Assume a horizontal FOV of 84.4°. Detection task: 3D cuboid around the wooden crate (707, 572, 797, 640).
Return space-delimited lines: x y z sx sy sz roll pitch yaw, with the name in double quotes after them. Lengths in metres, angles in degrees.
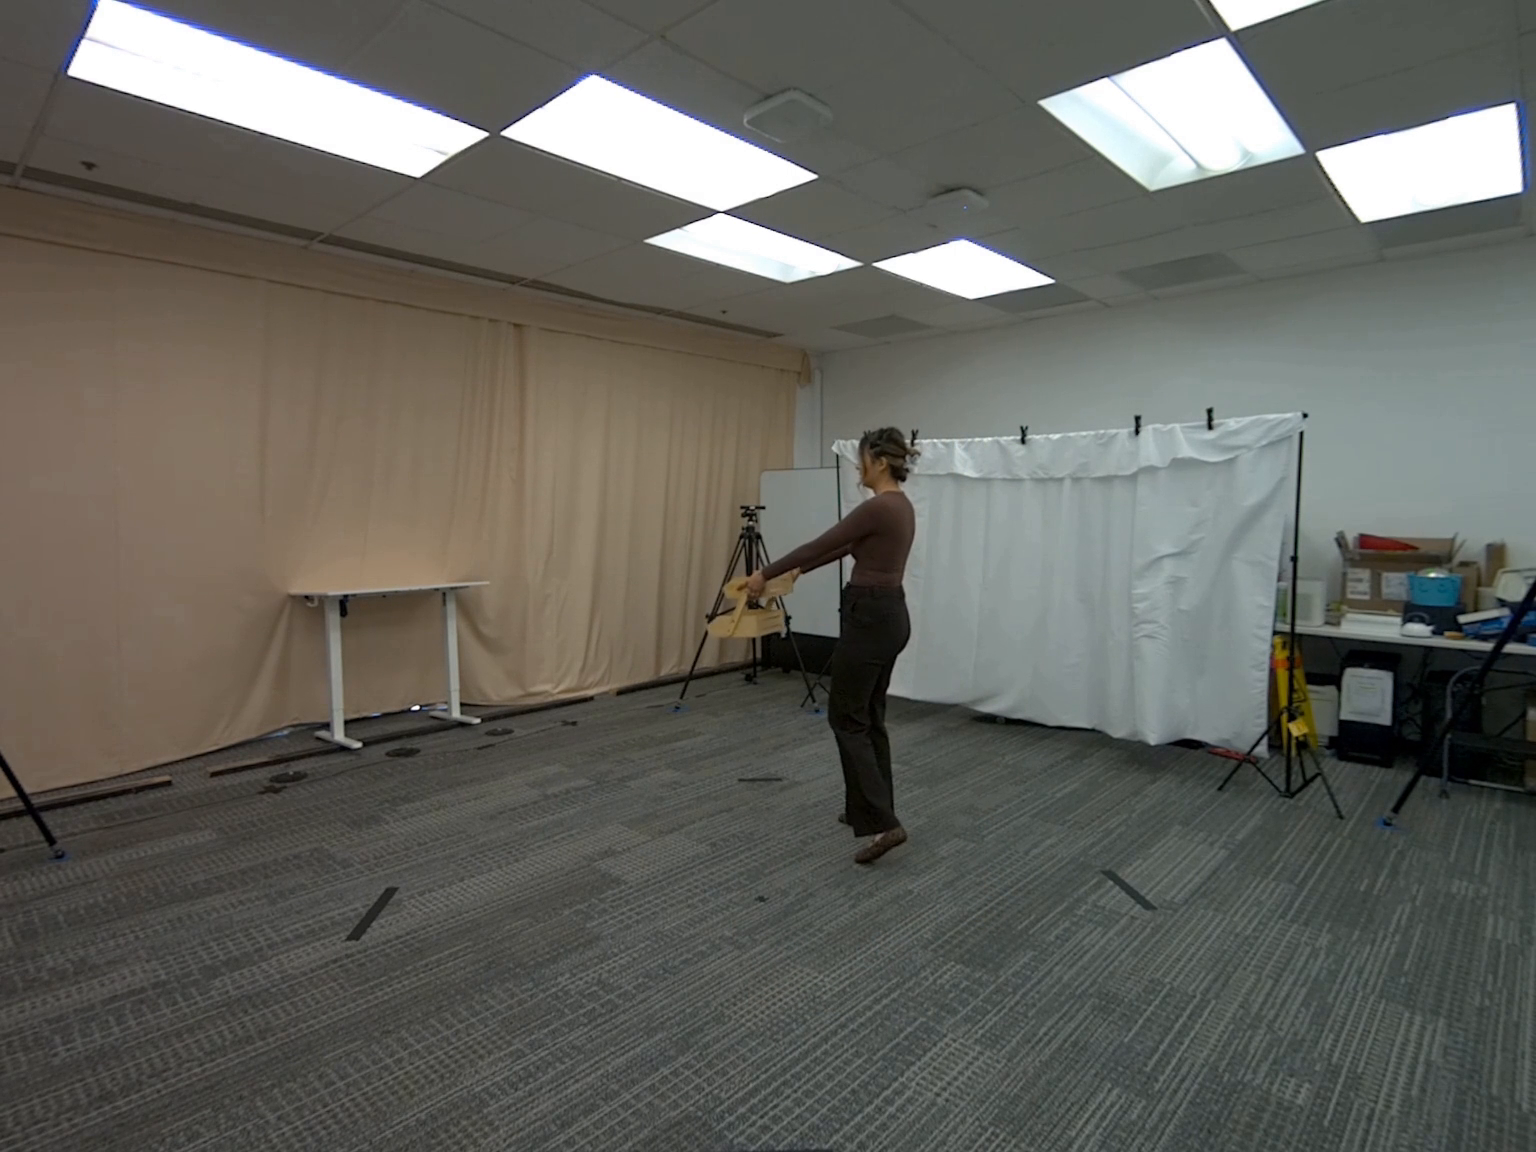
-0.080 0.124 3.802 0.310 0.273 0.316 -2 2 26 "wooden crate"
